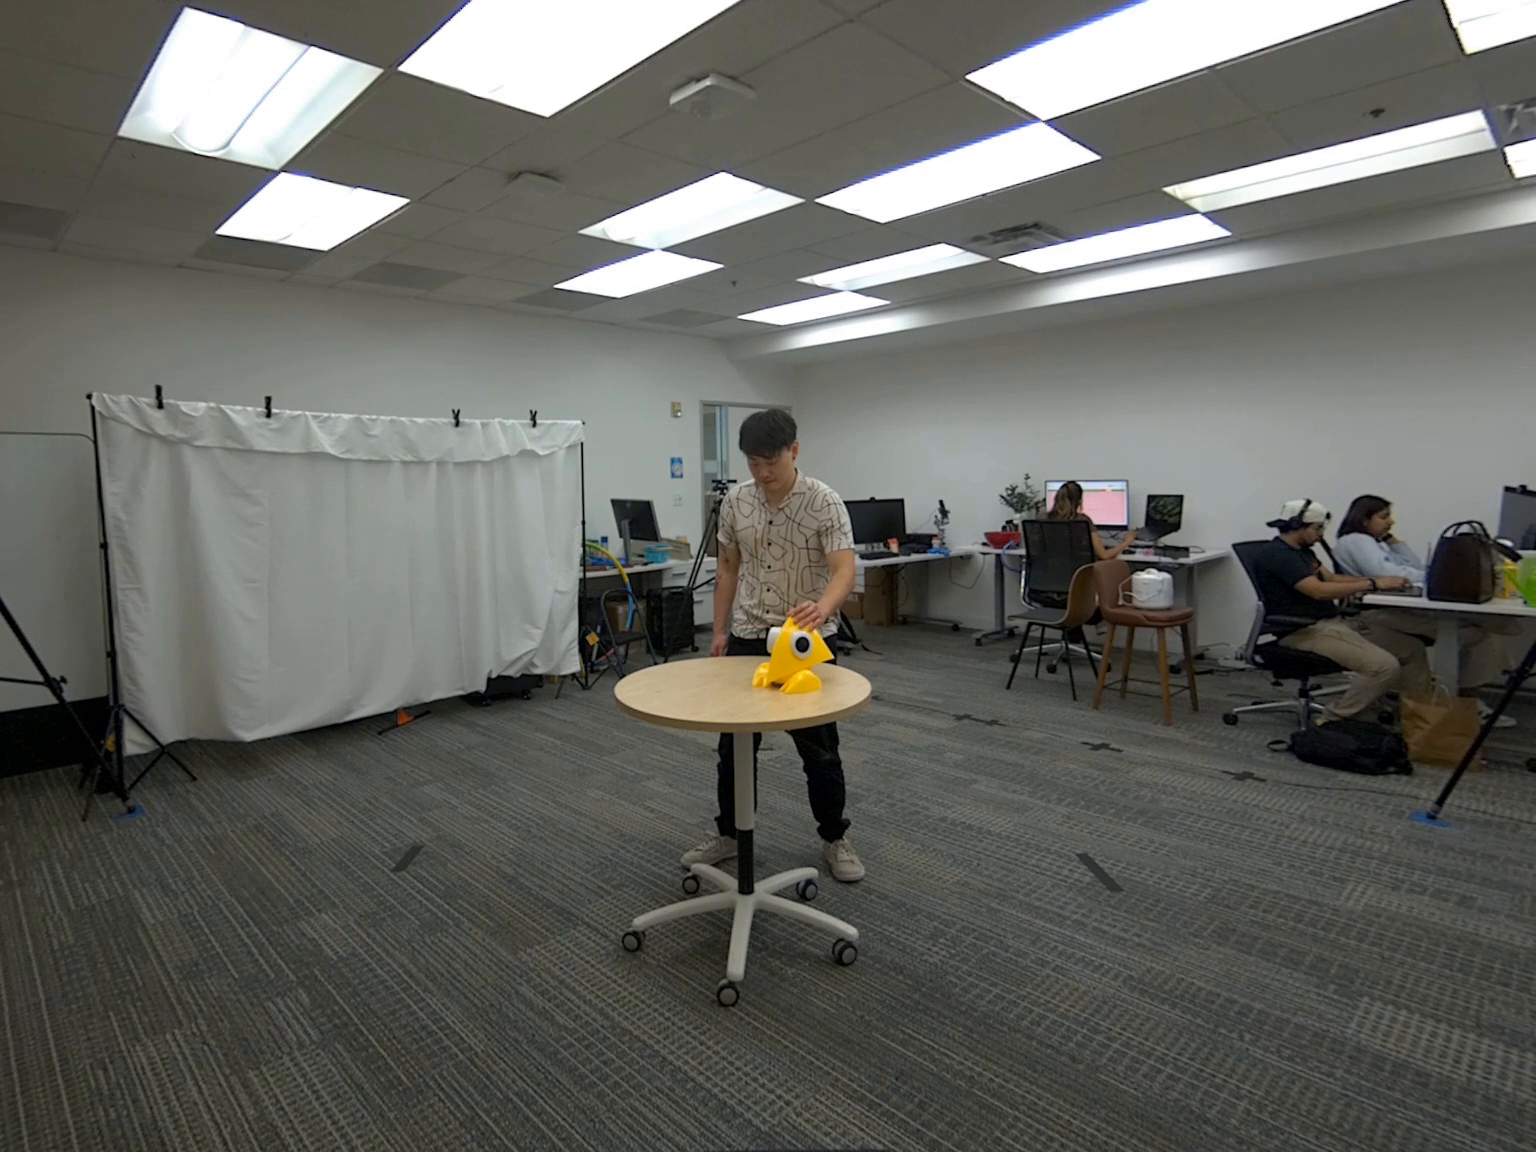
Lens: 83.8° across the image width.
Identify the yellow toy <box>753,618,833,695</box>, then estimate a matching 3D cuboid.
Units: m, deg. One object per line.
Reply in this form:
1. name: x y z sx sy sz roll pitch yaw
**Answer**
1. yellow toy: 0.066 0.215 2.552 0.211 0.230 0.188 4 7 42
